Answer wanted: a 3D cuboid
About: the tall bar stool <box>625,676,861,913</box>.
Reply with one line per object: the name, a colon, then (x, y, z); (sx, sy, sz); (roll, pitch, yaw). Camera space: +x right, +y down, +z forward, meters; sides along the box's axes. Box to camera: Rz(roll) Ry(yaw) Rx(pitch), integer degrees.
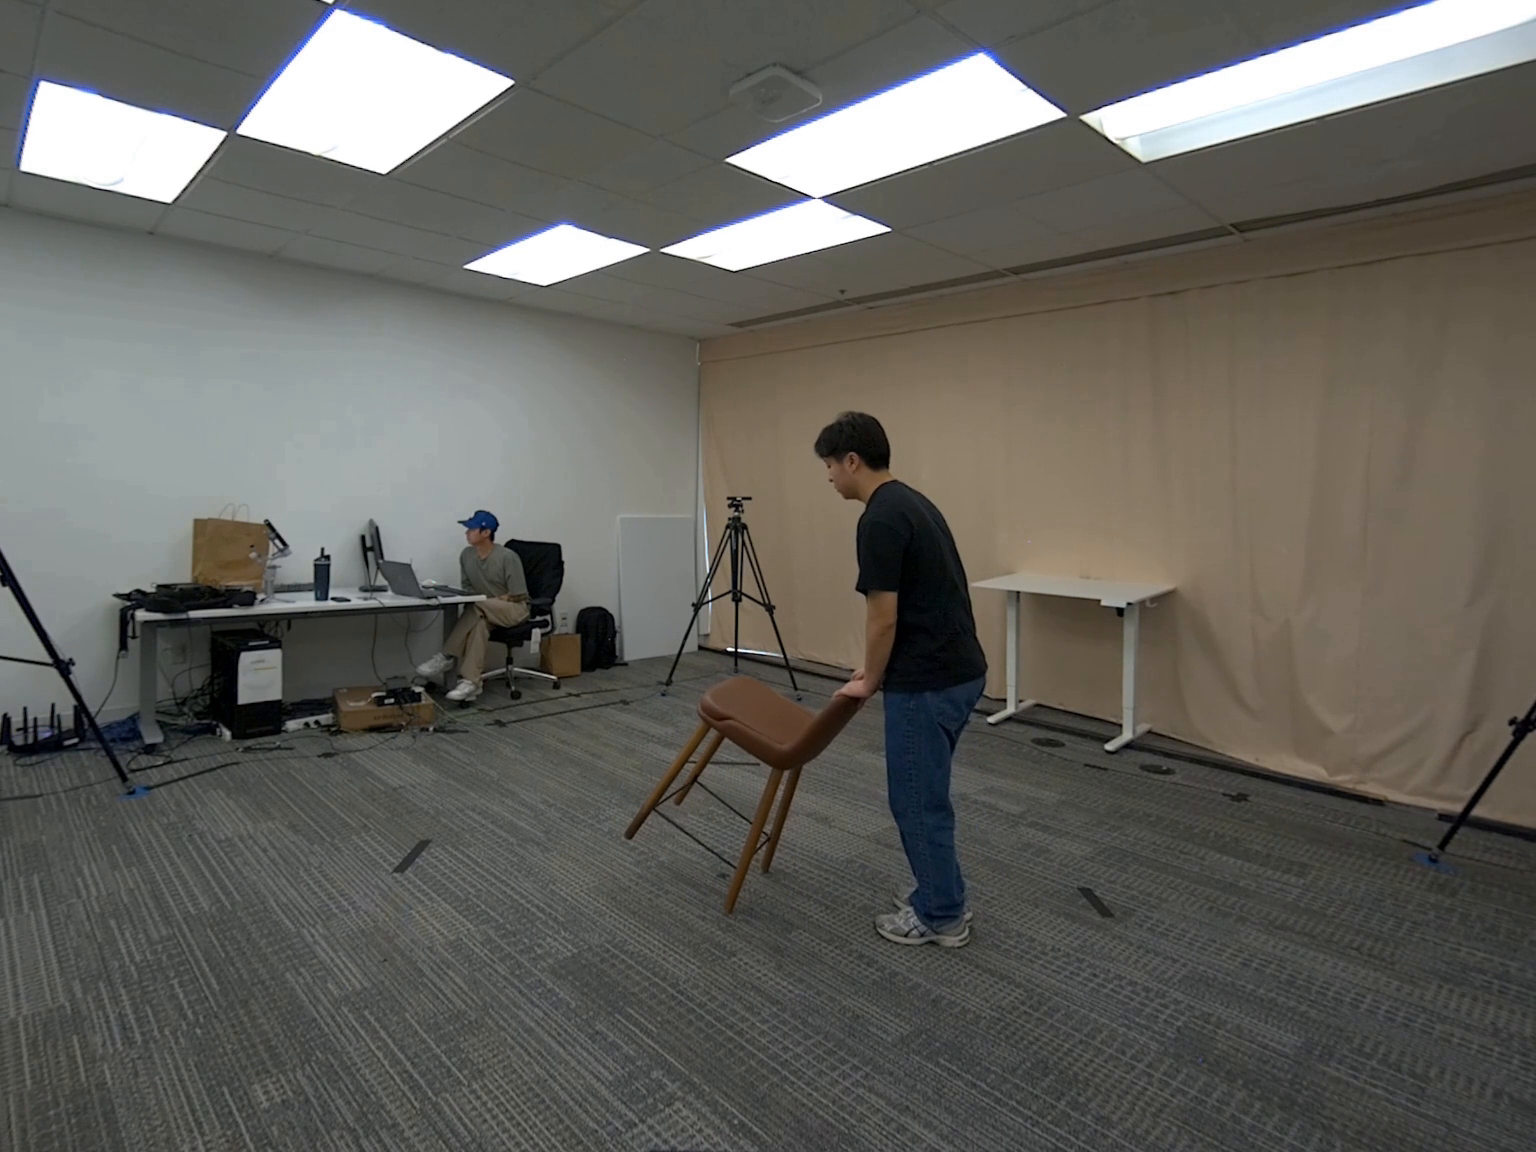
tall bar stool: (-0.060, 0.642, 2.961); (0.477, 0.886, 0.449); (33, 14, 18)
